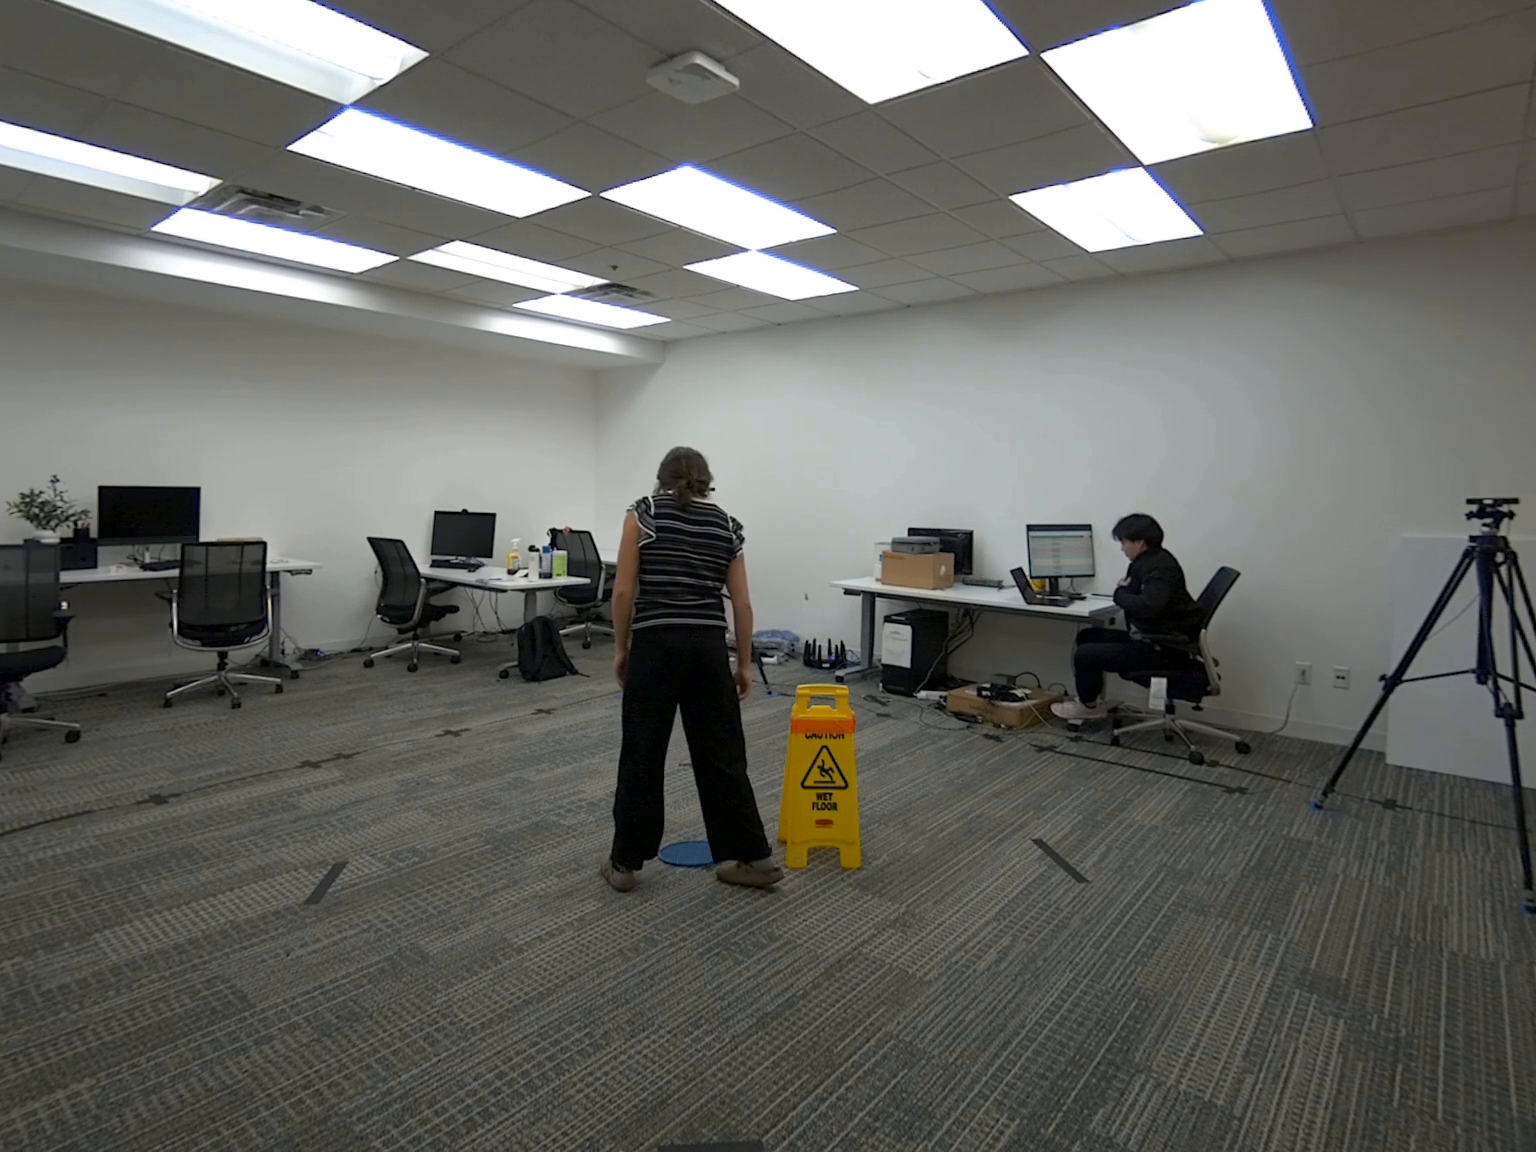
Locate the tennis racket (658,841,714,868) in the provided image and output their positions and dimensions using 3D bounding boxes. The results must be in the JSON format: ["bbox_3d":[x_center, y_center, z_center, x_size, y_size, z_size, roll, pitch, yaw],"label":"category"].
[{"bbox_3d":[-0.210,1.038,3.223,0.431,0.031,0.215,-1,6,-5],"label":"tennis racket"}]
